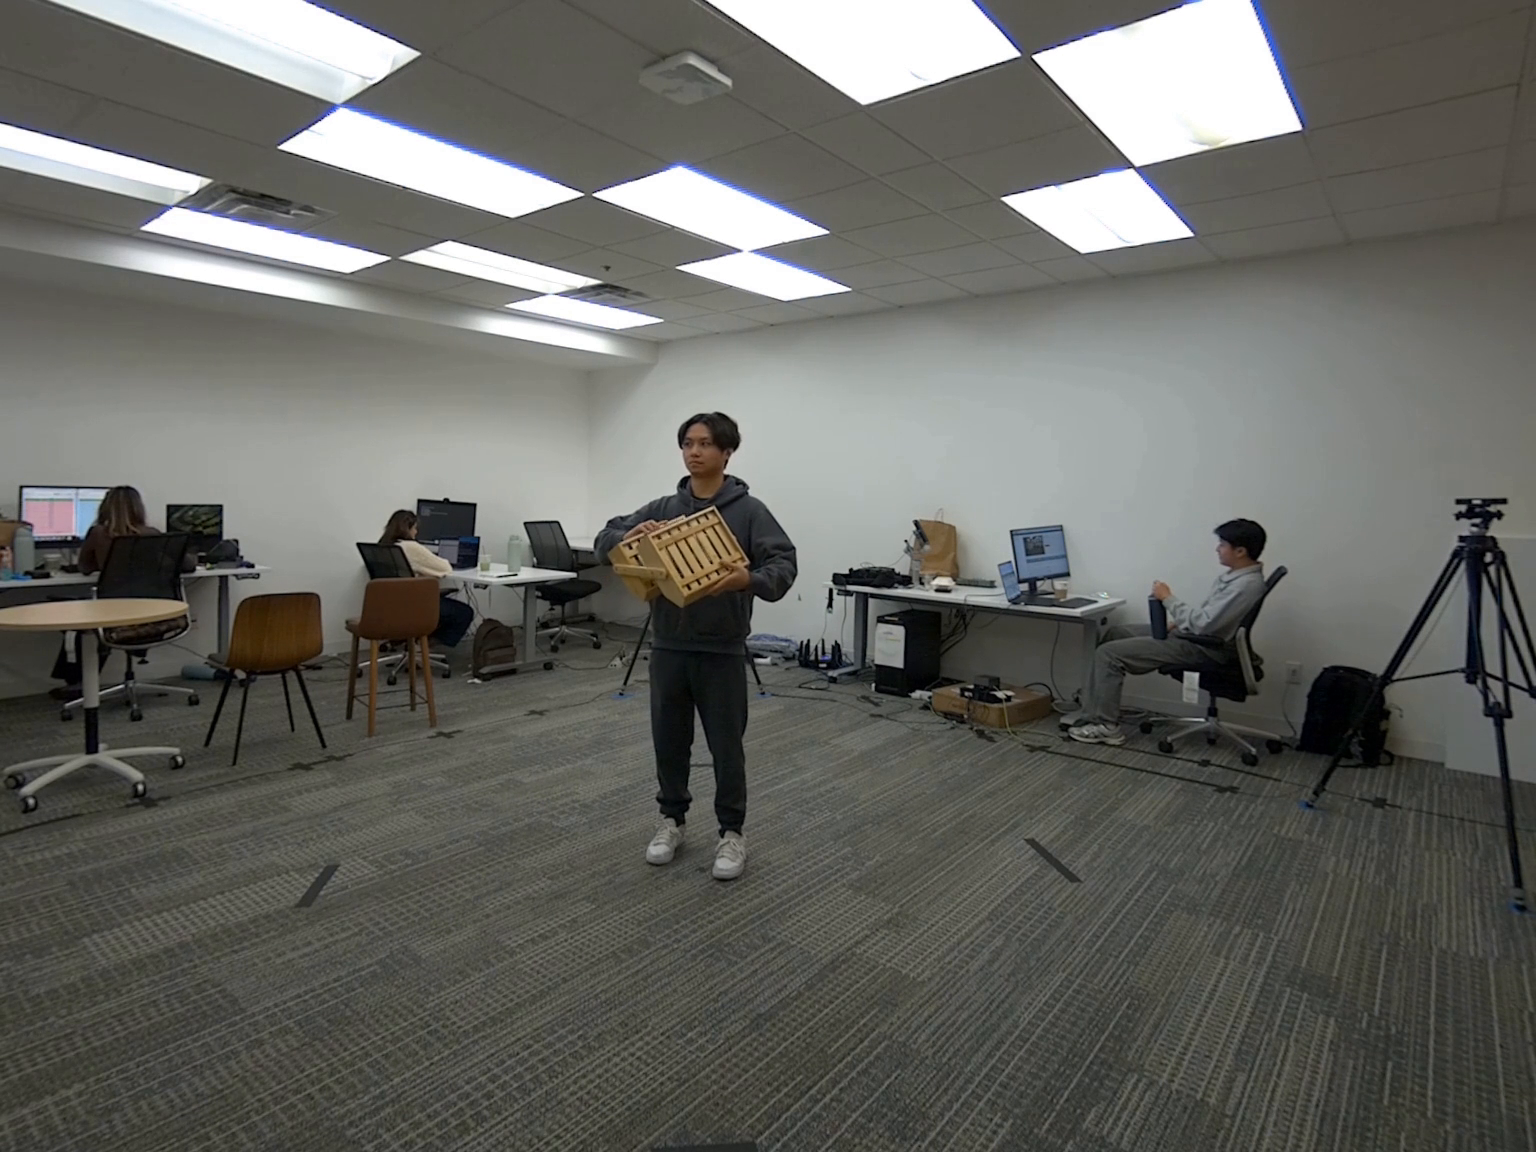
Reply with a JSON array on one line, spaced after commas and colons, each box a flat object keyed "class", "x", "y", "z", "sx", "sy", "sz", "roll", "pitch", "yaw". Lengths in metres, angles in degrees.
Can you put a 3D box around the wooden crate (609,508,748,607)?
[{"class": "wooden crate", "x": -0.309, "y": -0.049, "z": 2.855, "sx": 0.319, "sy": 0.306, "sz": 0.274, "roll": -27, "pitch": -9, "yaw": -39}]
